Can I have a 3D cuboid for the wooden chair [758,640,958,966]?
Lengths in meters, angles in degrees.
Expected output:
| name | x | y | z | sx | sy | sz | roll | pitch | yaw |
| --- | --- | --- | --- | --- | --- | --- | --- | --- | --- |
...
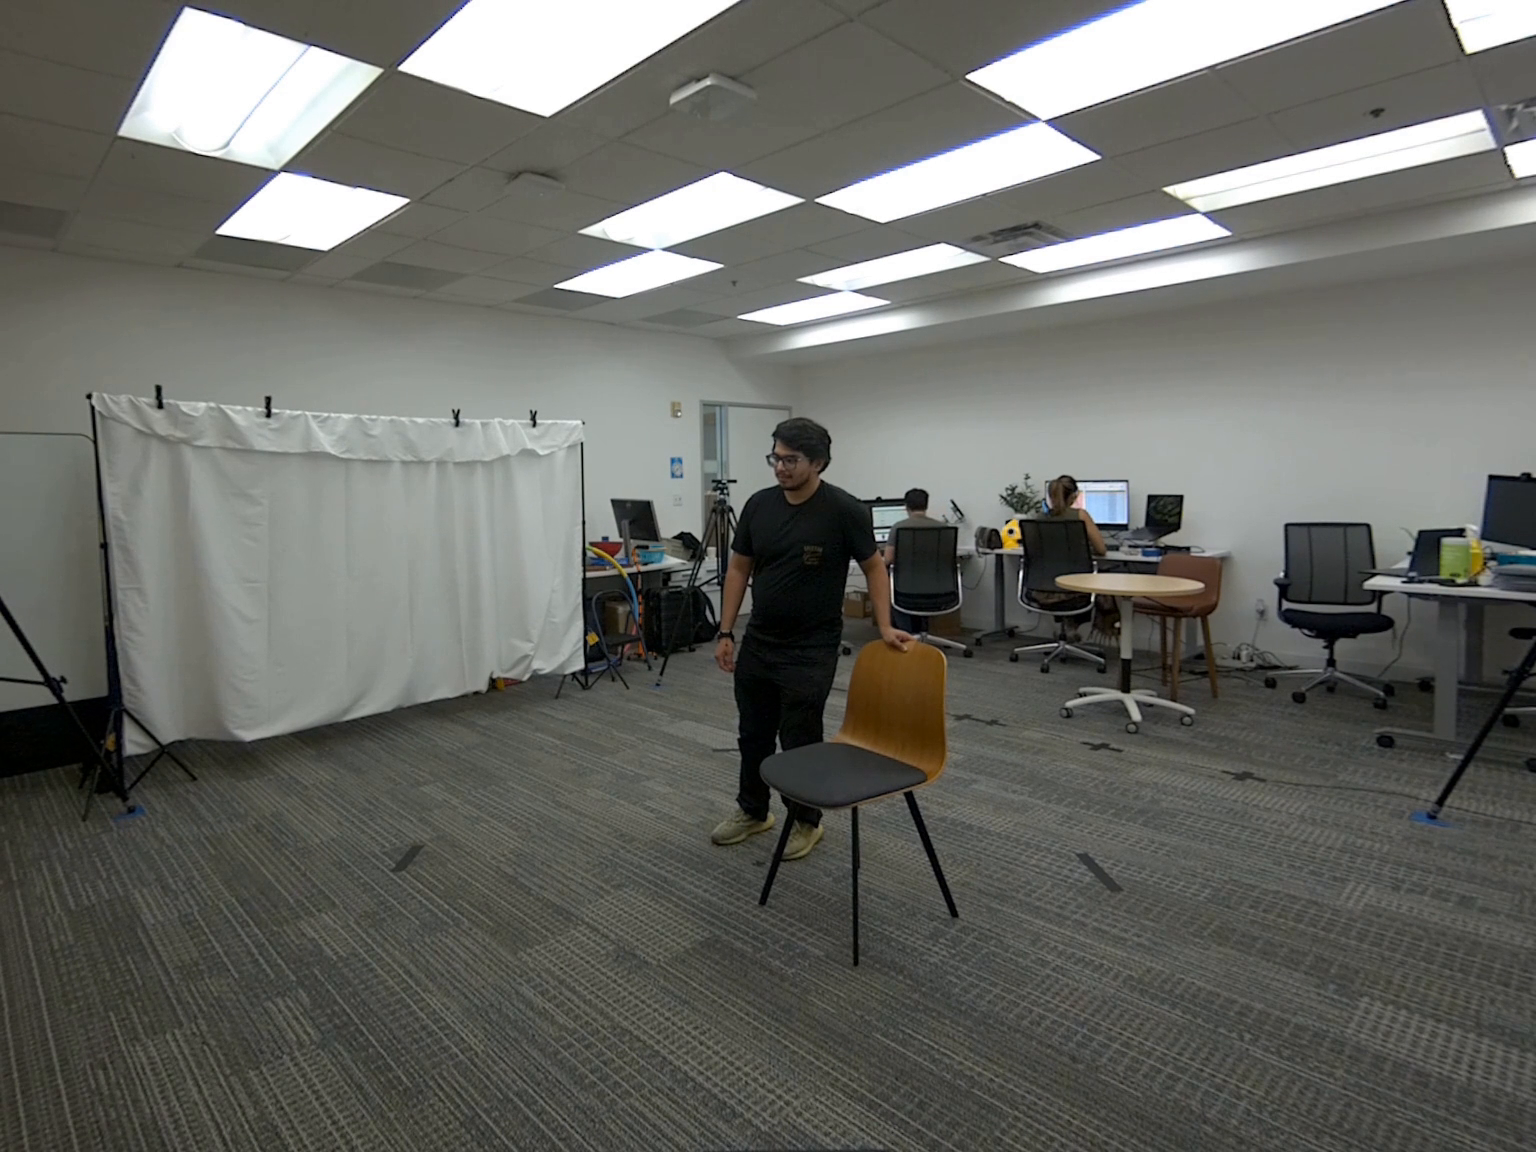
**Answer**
| name | x | y | z | sx | sy | sz | roll | pitch | yaw |
| --- | --- | --- | --- | --- | --- | --- | --- | --- | --- |
| wooden chair | 0.279 | 0.661 | 2.714 | 0.508 | 0.877 | 0.492 | 1 | 1 | -38 |
